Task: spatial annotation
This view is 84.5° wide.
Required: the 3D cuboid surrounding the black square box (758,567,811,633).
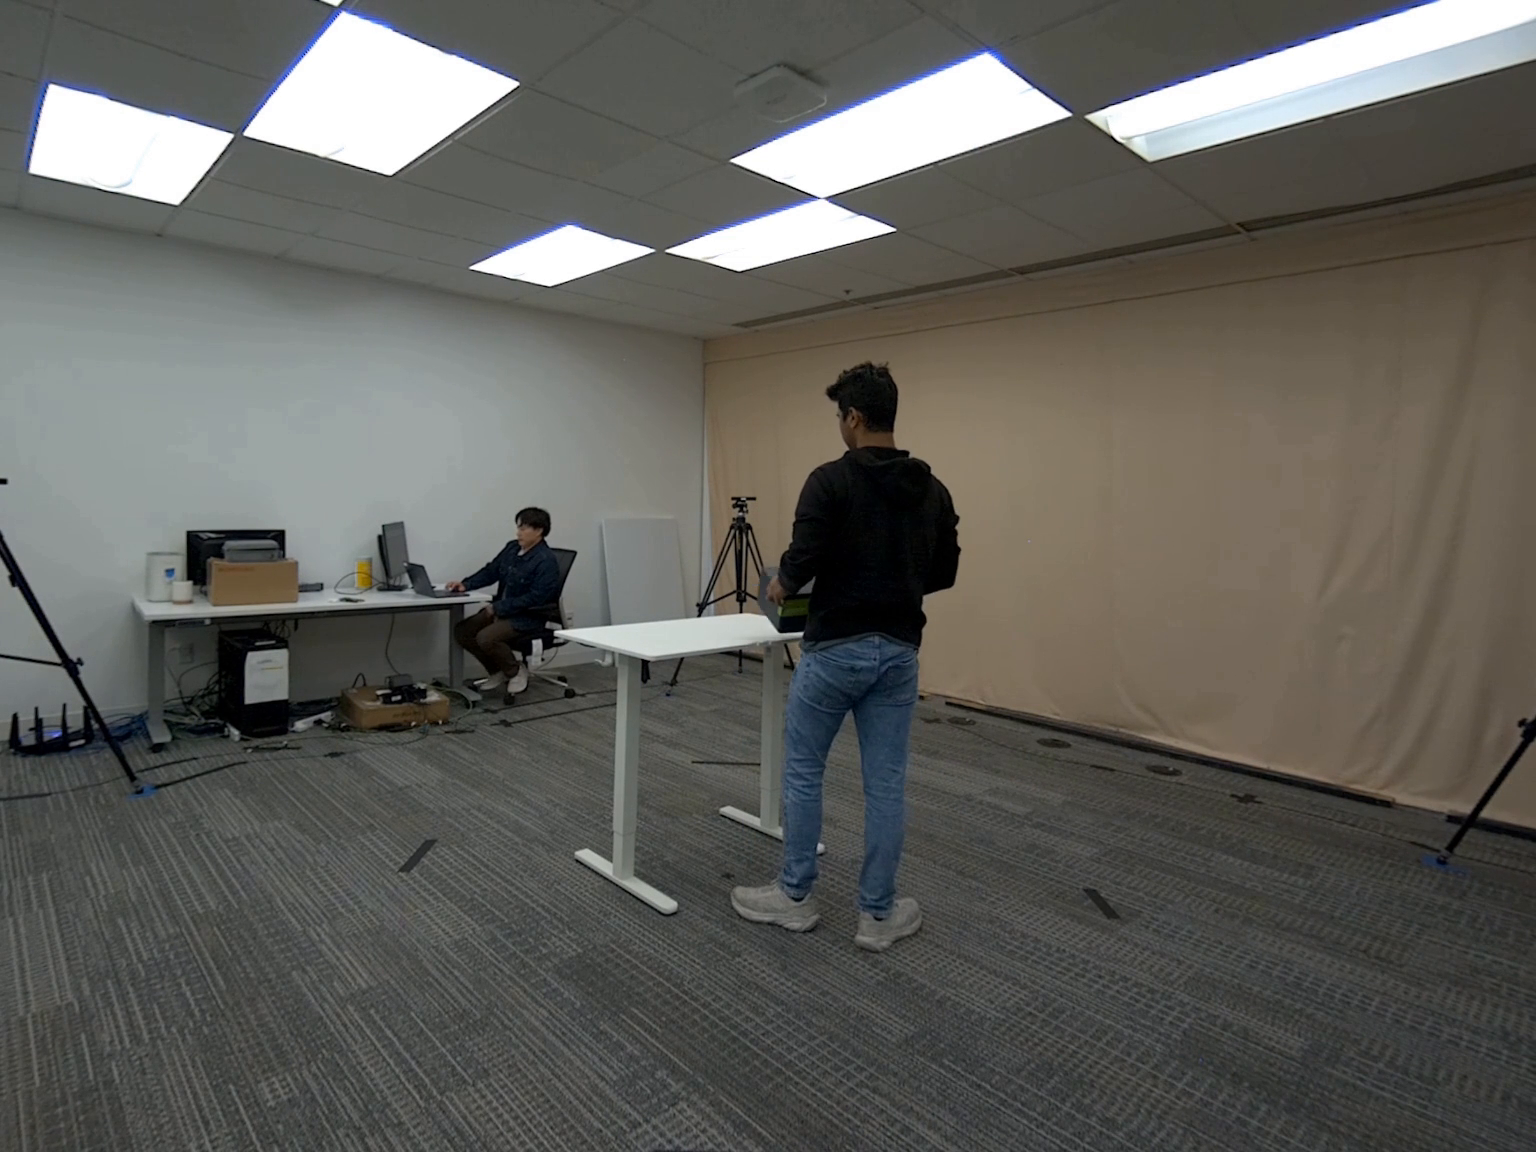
[{"bbox_3d":[0.113,0.086,3.041,0.224,0.153,0.223,-3,27,-21],"label":"black square box"}]
